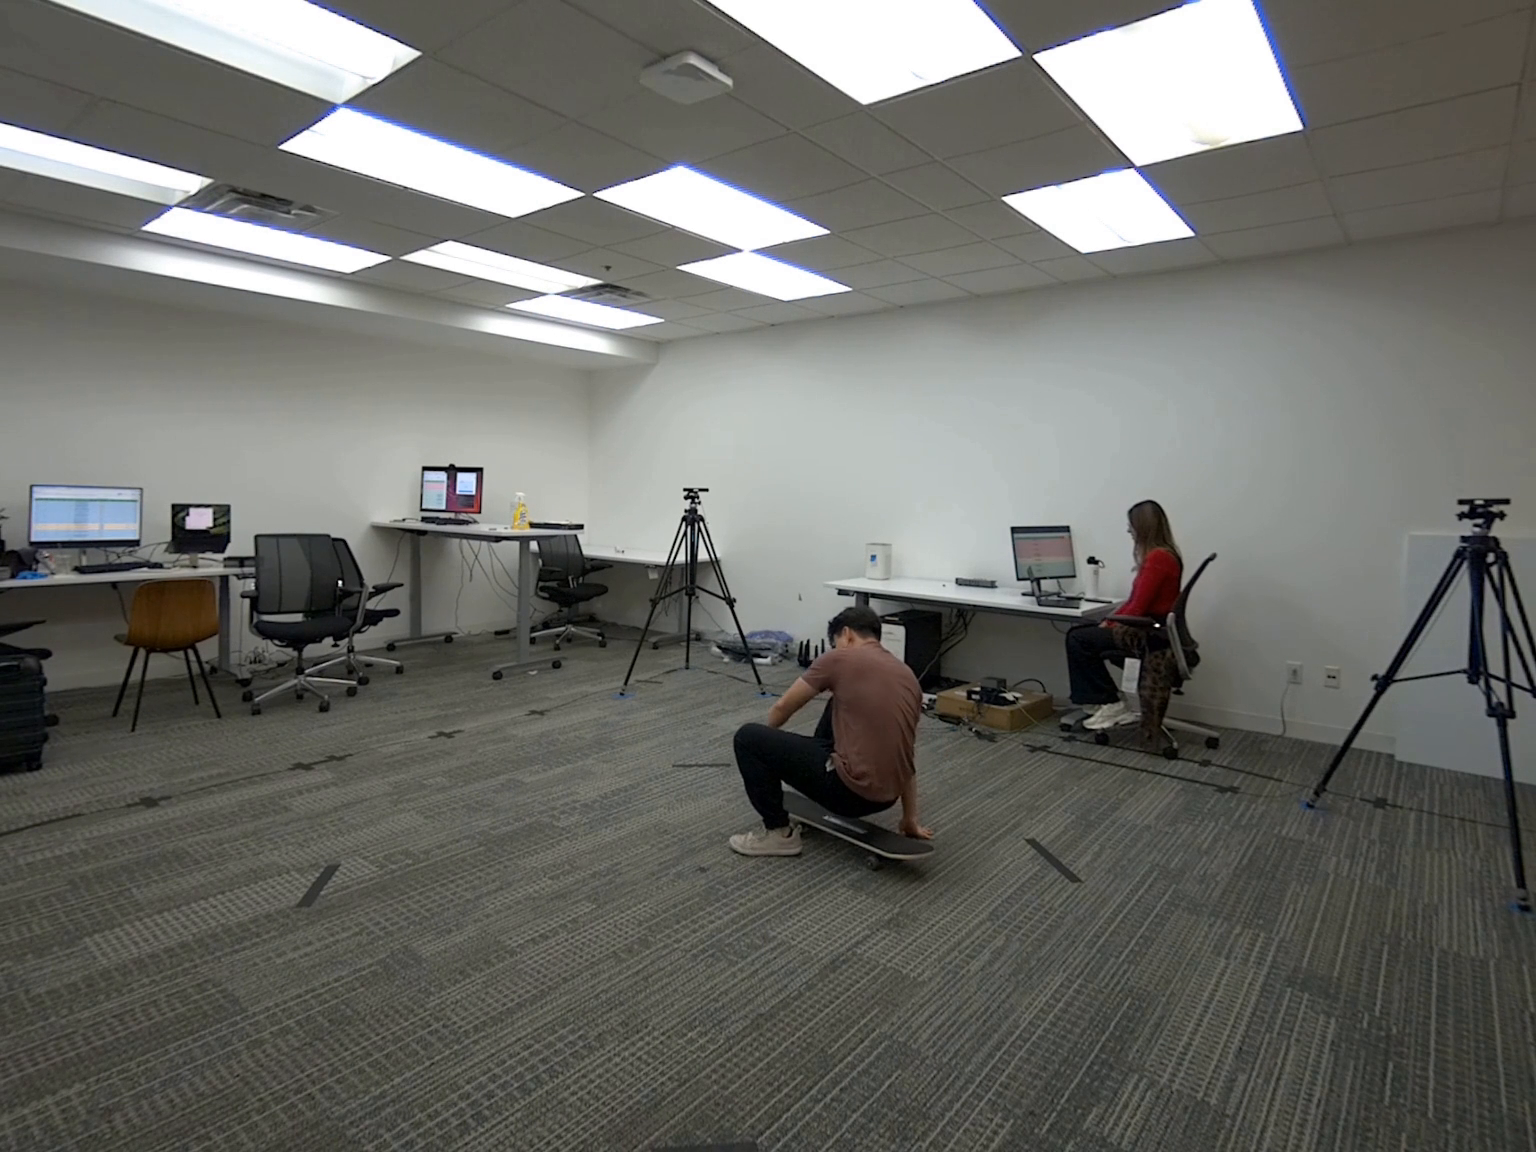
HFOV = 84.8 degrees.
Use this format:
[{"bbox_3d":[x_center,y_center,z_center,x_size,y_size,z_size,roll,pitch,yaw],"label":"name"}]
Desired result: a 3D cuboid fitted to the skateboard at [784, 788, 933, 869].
[{"bbox_3d":[0.291,1.001,3.350,0.187,0.110,0.813,-2,7,-44],"label":"skateboard"}]
